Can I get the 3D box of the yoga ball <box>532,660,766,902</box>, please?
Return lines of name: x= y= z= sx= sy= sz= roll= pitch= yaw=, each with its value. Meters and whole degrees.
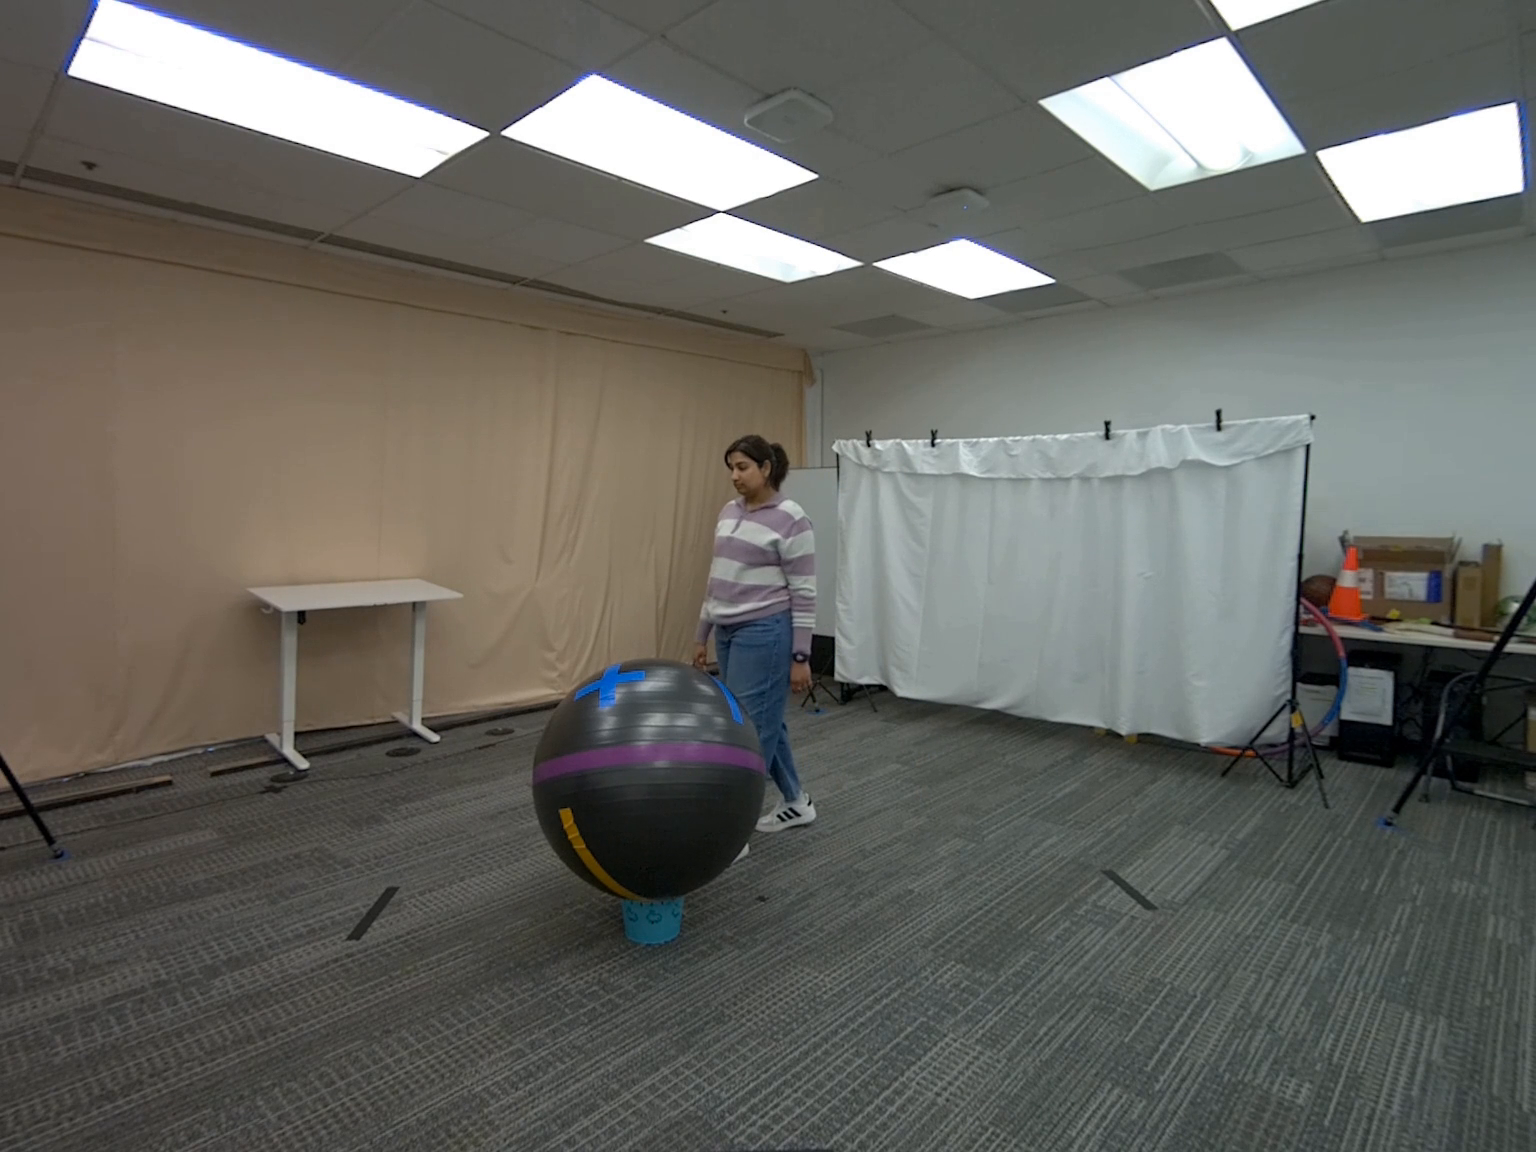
yoga ball: x=-0.396 y=0.658 z=2.756 sx=0.757 sy=0.756 sz=0.760 roll=0 pitch=4 yaw=-2
